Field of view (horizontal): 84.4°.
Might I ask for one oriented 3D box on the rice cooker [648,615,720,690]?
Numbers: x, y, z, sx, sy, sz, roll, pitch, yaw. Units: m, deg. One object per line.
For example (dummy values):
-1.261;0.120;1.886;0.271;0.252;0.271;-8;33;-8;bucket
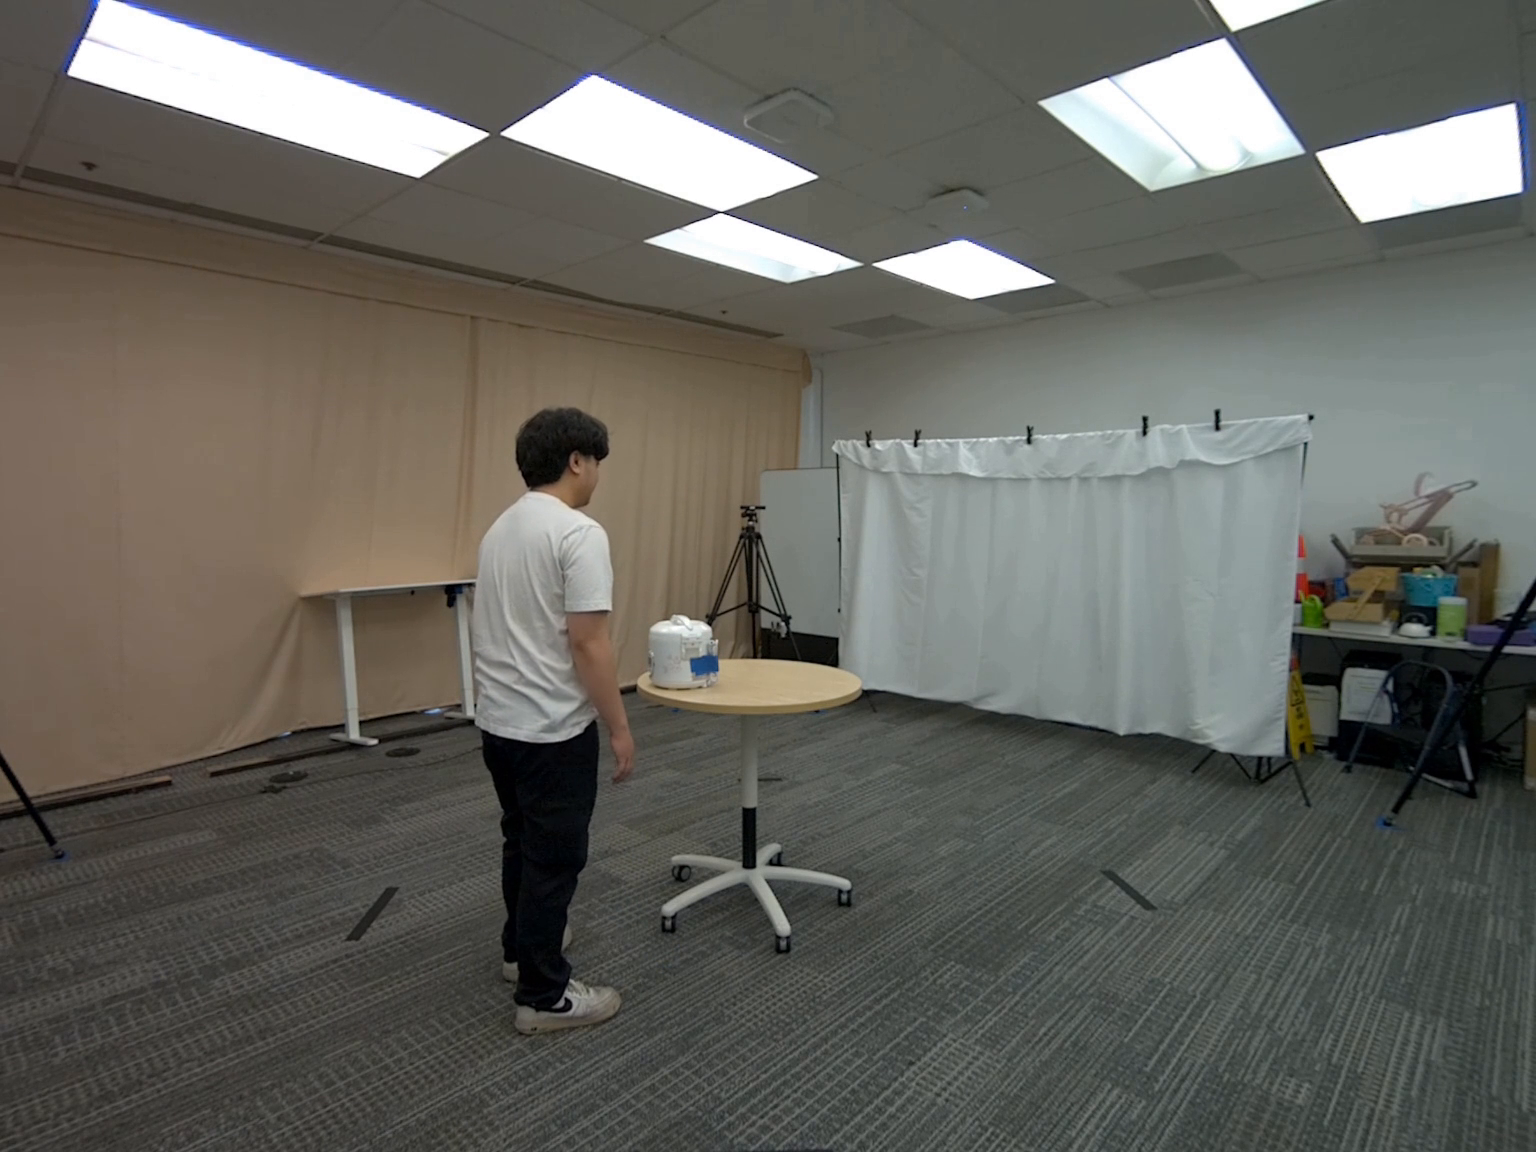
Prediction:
-0.289;0.247;2.796;0.212;0.232;0.226;-1;2;-25;rice cooker
